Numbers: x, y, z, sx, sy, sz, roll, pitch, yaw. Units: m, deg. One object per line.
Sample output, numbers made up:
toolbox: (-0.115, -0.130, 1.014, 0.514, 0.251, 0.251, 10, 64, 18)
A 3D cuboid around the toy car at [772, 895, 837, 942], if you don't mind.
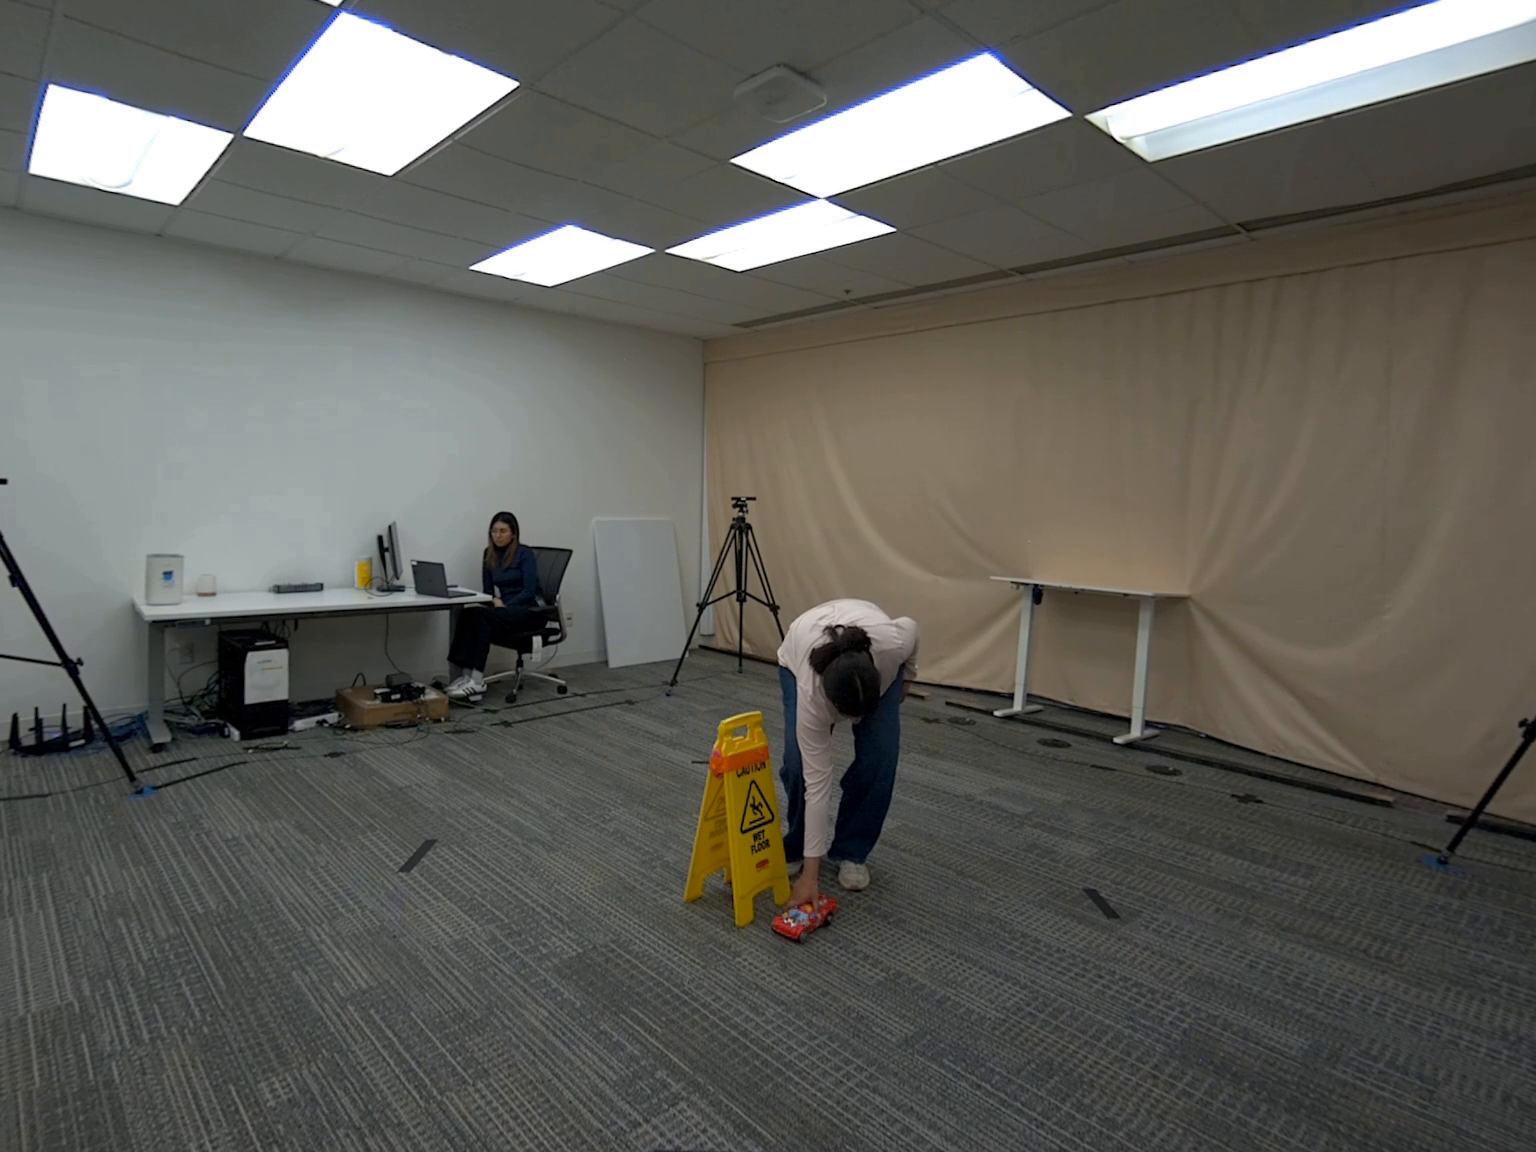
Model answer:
toy car: (0.113, 1.116, 2.741, 0.133, 0.082, 0.251, 4, 16, 39)
